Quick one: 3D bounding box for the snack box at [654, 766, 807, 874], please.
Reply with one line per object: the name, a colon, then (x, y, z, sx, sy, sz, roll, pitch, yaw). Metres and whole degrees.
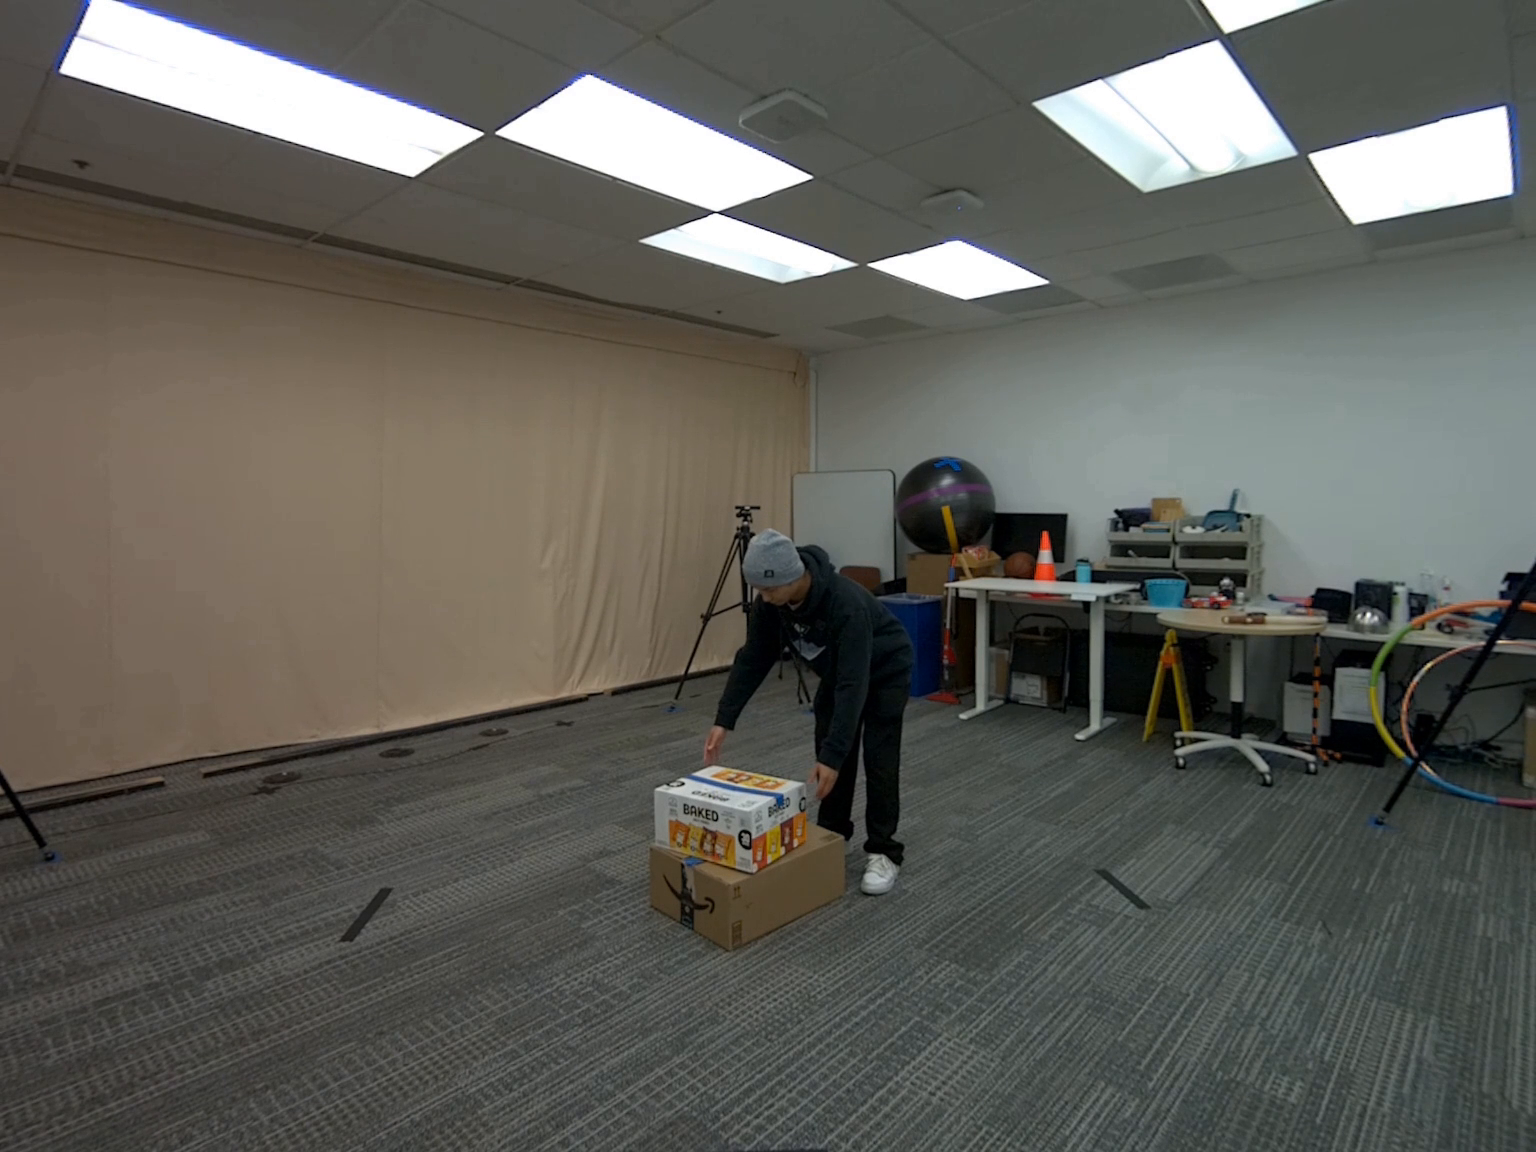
snack box: (-0.125, 0.831, 2.919, 0.418, 0.205, 0.330, 2, 4, 35)
